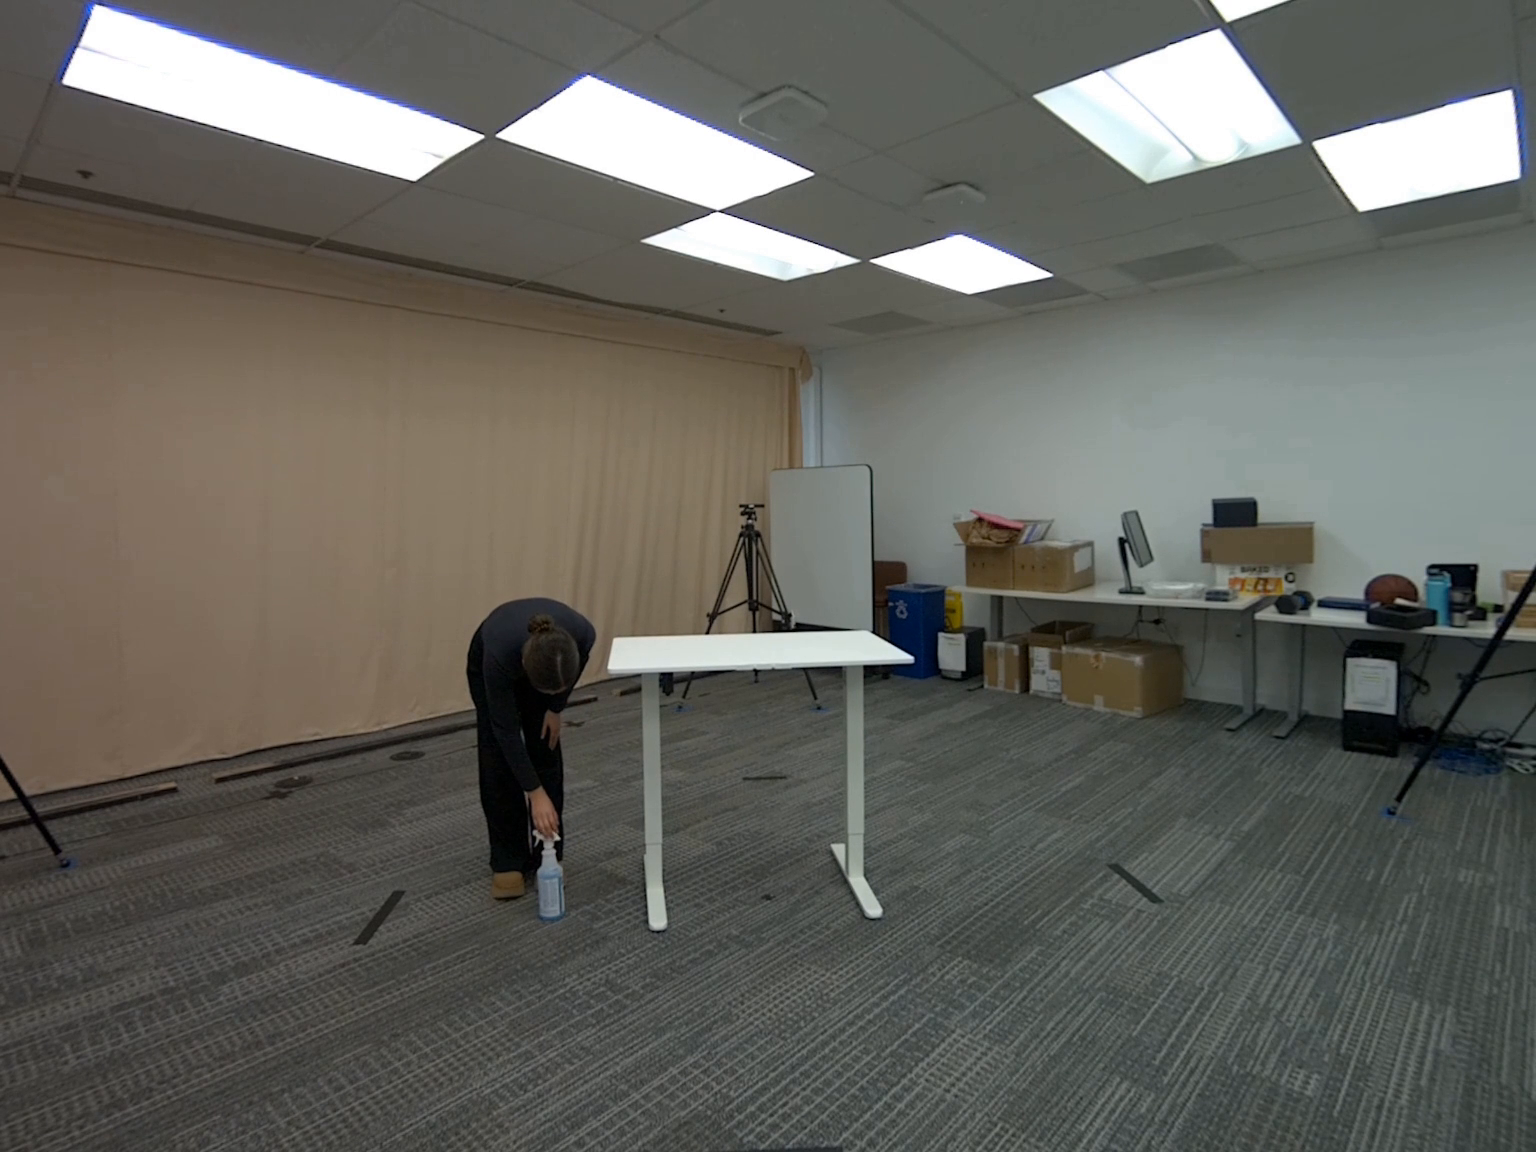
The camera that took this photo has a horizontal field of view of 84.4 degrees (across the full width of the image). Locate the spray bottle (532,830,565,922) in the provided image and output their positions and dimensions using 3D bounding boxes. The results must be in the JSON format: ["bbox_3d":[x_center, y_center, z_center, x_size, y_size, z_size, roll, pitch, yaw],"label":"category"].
[{"bbox_3d":[-0.746,1.020,2.879,0.092,0.297,0.085,0,4,29],"label":"spray bottle"}]
